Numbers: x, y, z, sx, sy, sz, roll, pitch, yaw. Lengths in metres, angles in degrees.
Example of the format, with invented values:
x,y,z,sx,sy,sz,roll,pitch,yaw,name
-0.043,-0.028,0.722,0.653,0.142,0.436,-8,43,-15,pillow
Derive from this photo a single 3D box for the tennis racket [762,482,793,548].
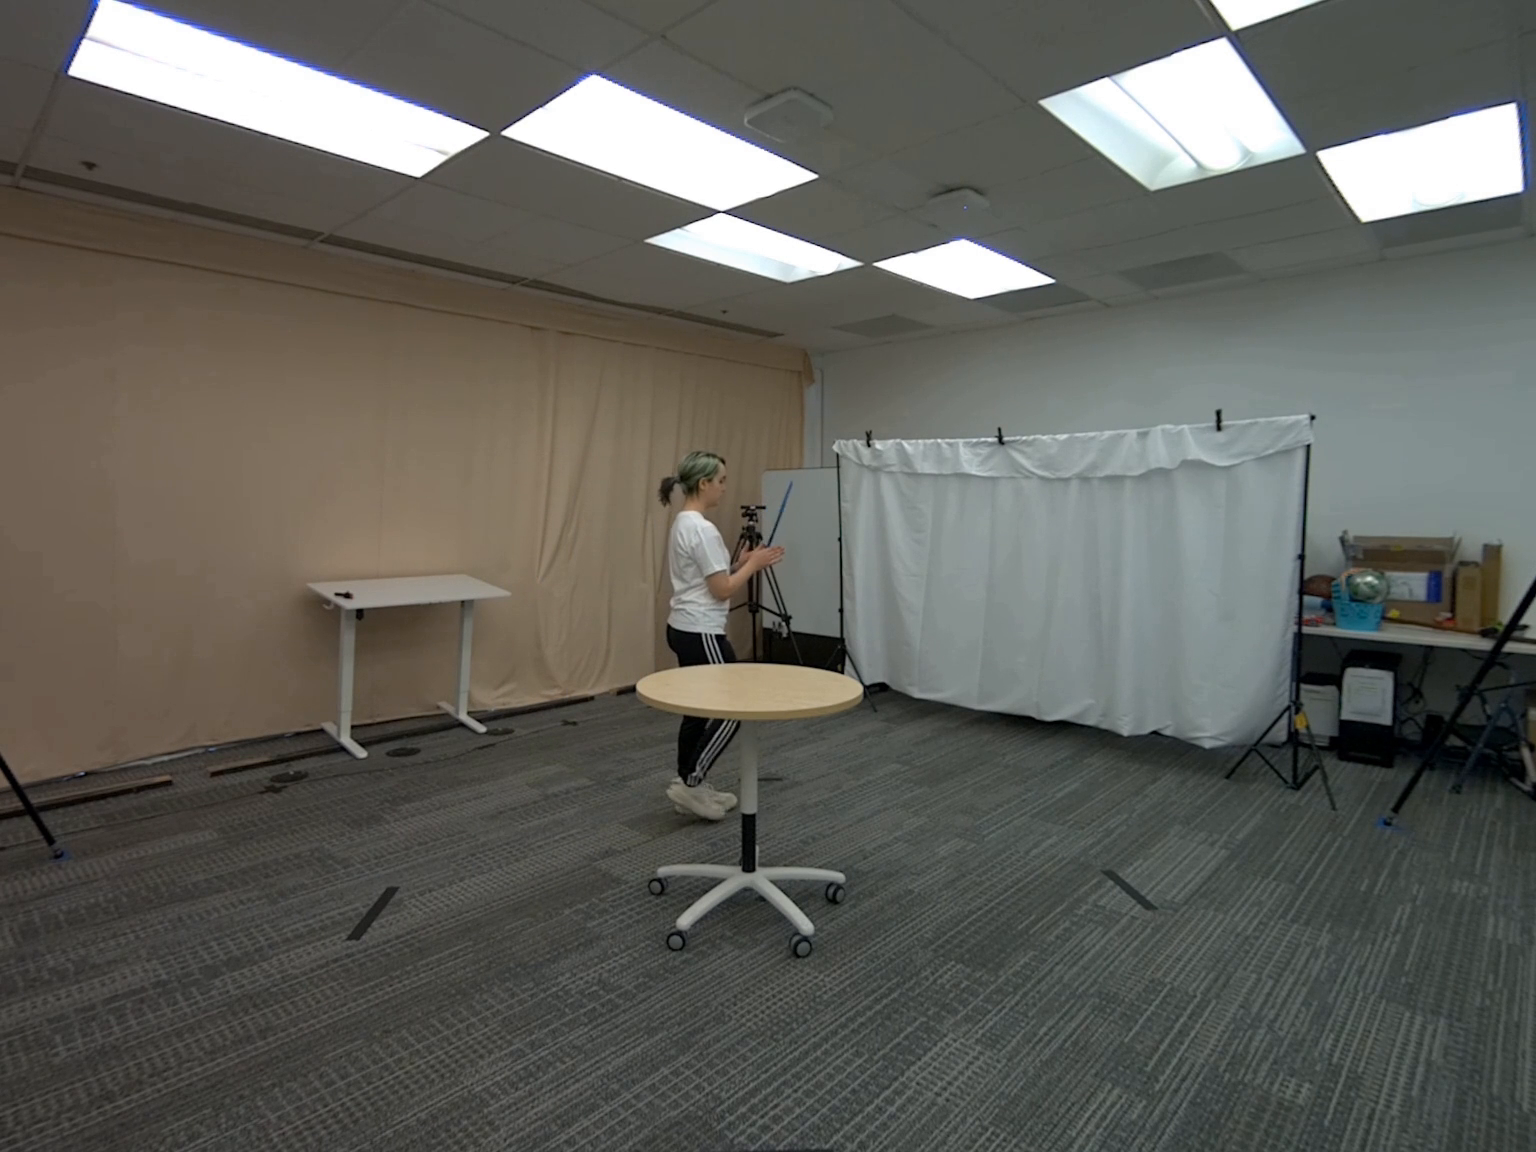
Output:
x,y,z,sx,sy,sz,roll,pitch,yaw,name
0.033,-0.222,3.764,0.032,0.432,0.214,15,3,-1,tennis racket
